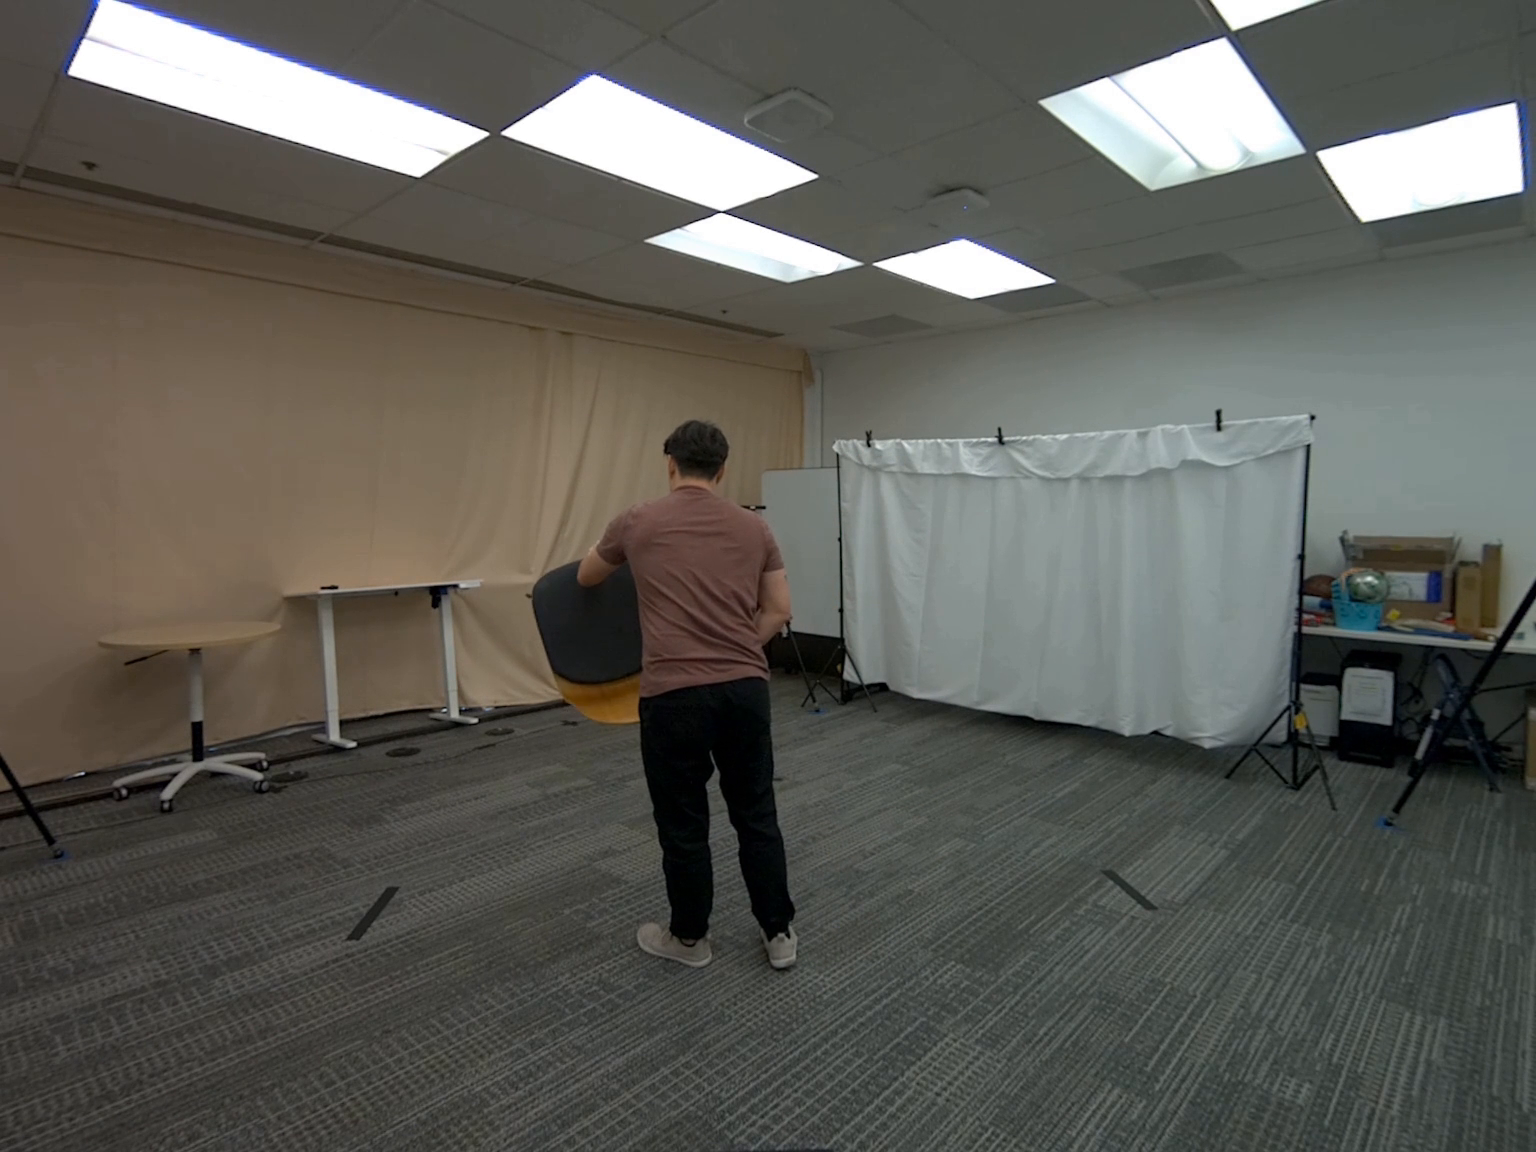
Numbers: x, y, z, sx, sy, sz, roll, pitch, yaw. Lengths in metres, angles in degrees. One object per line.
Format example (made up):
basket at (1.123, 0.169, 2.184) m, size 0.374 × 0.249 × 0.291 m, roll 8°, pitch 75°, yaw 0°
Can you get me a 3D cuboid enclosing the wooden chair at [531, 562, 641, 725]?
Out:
wooden chair at (-0.562, 0.185, 2.972) m, size 0.473 × 0.520 × 0.891 m, roll -19°, pitch 7°, yaw -13°
